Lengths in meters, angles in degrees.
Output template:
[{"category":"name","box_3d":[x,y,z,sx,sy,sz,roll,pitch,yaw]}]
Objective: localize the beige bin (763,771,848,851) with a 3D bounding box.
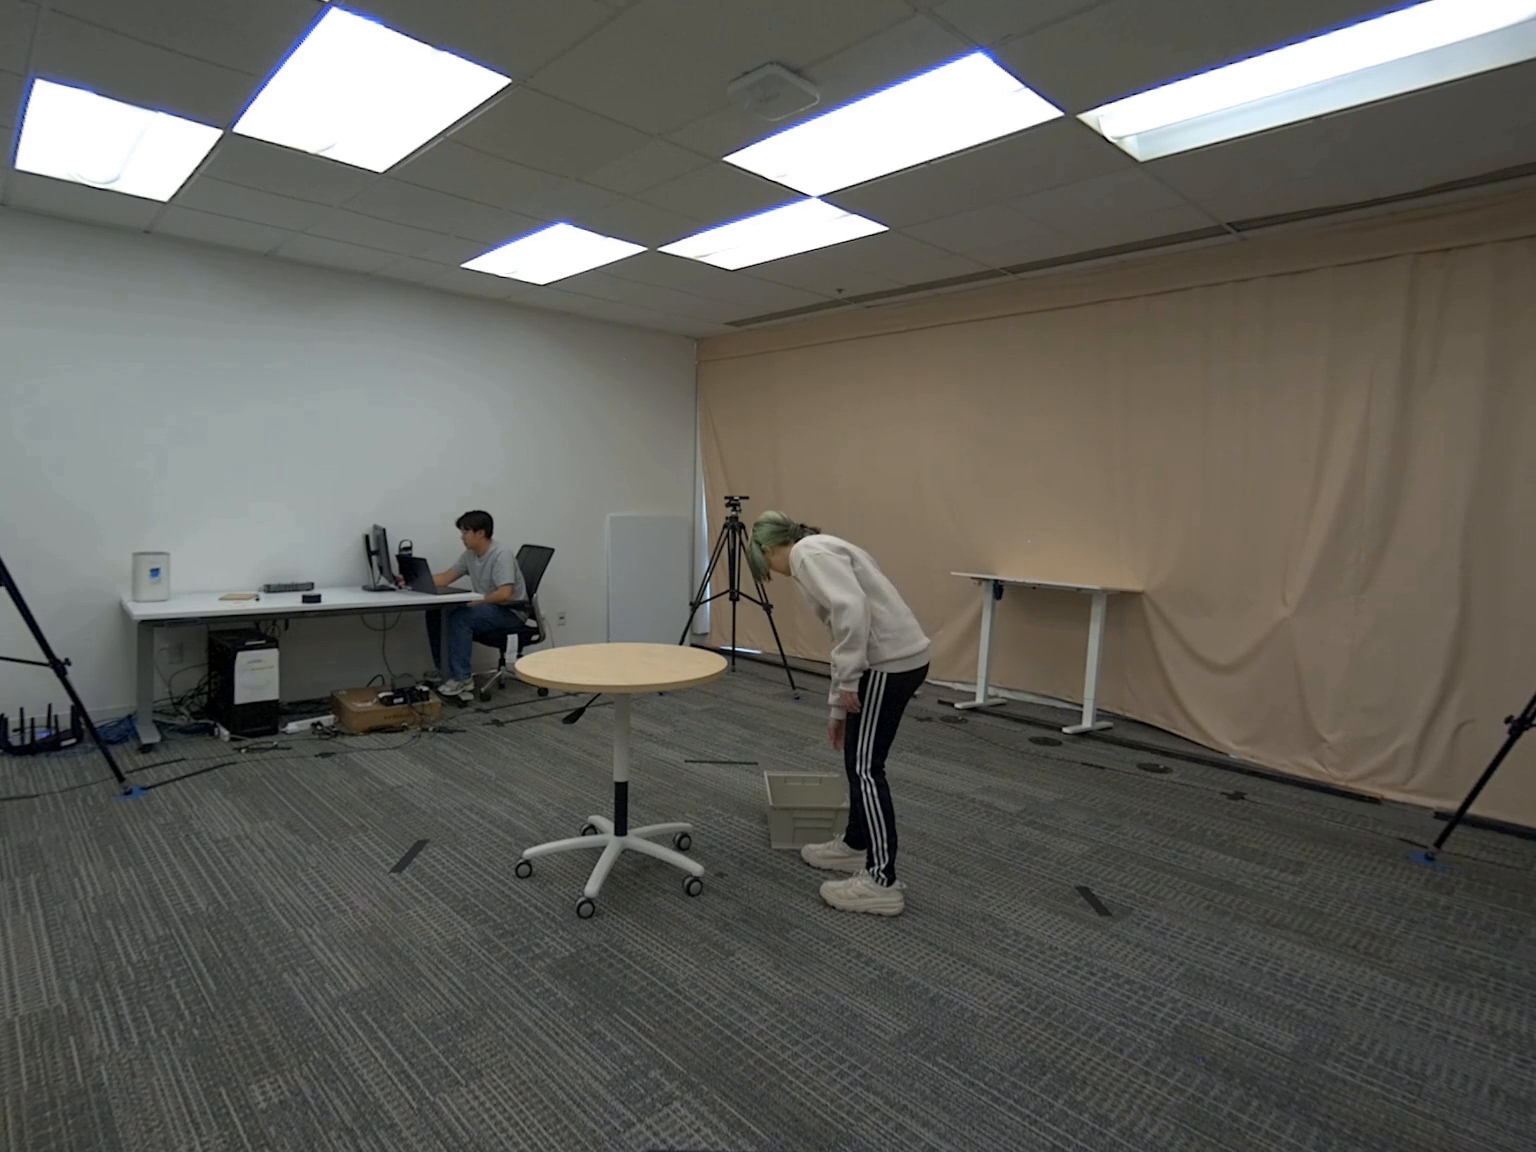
[{"category":"beige bin","box_3d":[0.174,0.987,3.556,0.376,0.188,0.425,0,5,-3]}]
